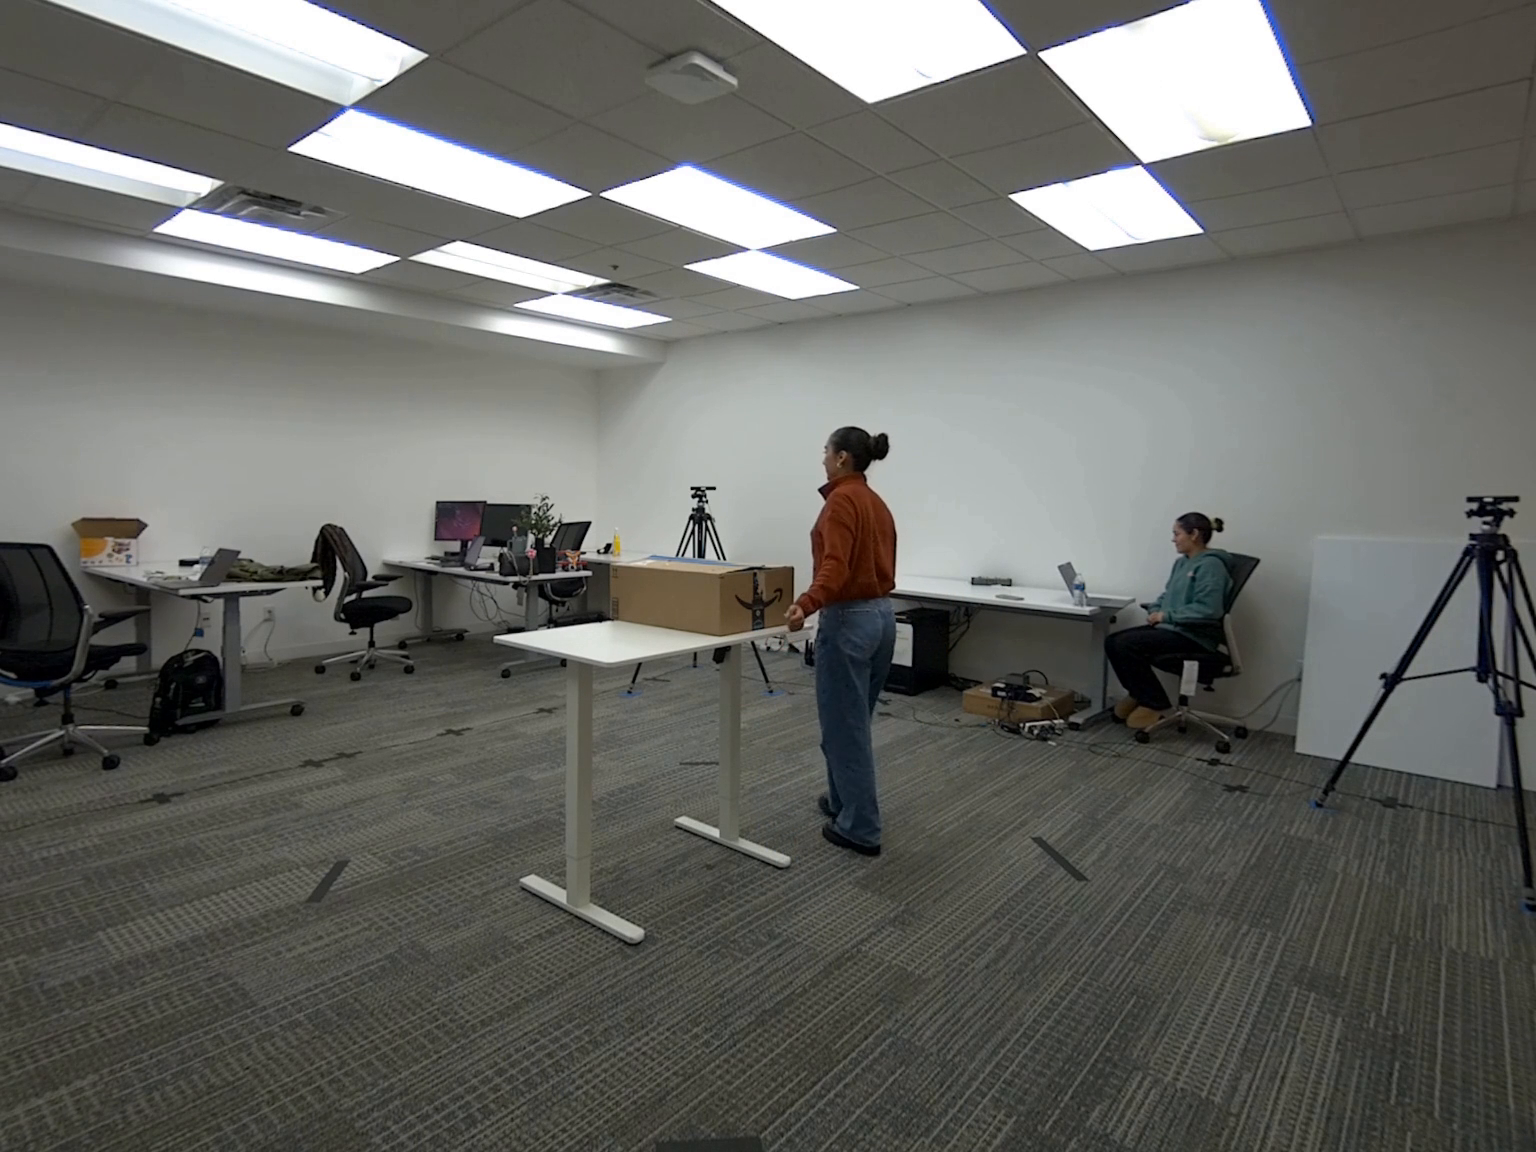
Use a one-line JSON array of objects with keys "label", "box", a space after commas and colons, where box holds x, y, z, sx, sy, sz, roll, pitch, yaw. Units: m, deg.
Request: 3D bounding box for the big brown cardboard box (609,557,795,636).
[{"label": "big brown cardboard box", "box": [-0.265, 0.062, 3.224, 0.609, 0.232, 0.405, 6, 8, 40]}]
